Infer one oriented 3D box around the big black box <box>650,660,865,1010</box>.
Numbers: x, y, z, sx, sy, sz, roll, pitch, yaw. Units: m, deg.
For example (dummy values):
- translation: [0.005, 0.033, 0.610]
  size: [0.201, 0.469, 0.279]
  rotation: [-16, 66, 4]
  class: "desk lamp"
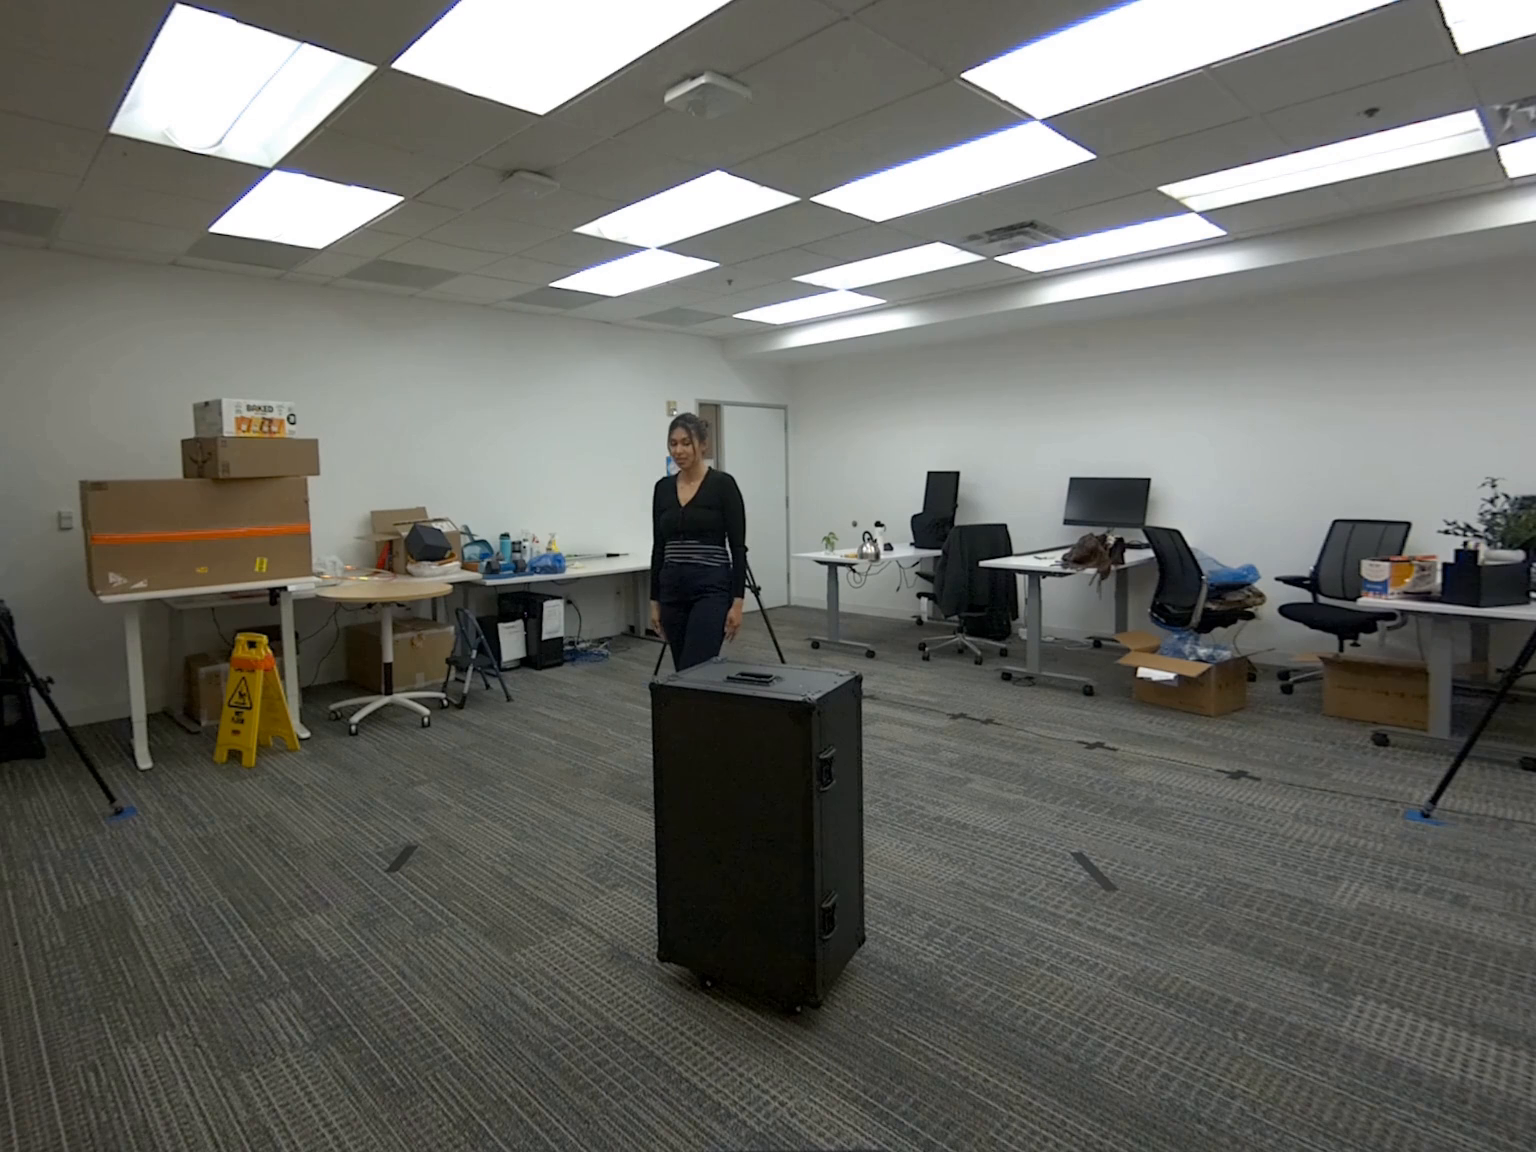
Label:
- translation: [-0.016, 0.703, 2.395]
  size: [0.534, 0.859, 0.388]
  rotation: [1, 4, 27]
  class: "big black box"
